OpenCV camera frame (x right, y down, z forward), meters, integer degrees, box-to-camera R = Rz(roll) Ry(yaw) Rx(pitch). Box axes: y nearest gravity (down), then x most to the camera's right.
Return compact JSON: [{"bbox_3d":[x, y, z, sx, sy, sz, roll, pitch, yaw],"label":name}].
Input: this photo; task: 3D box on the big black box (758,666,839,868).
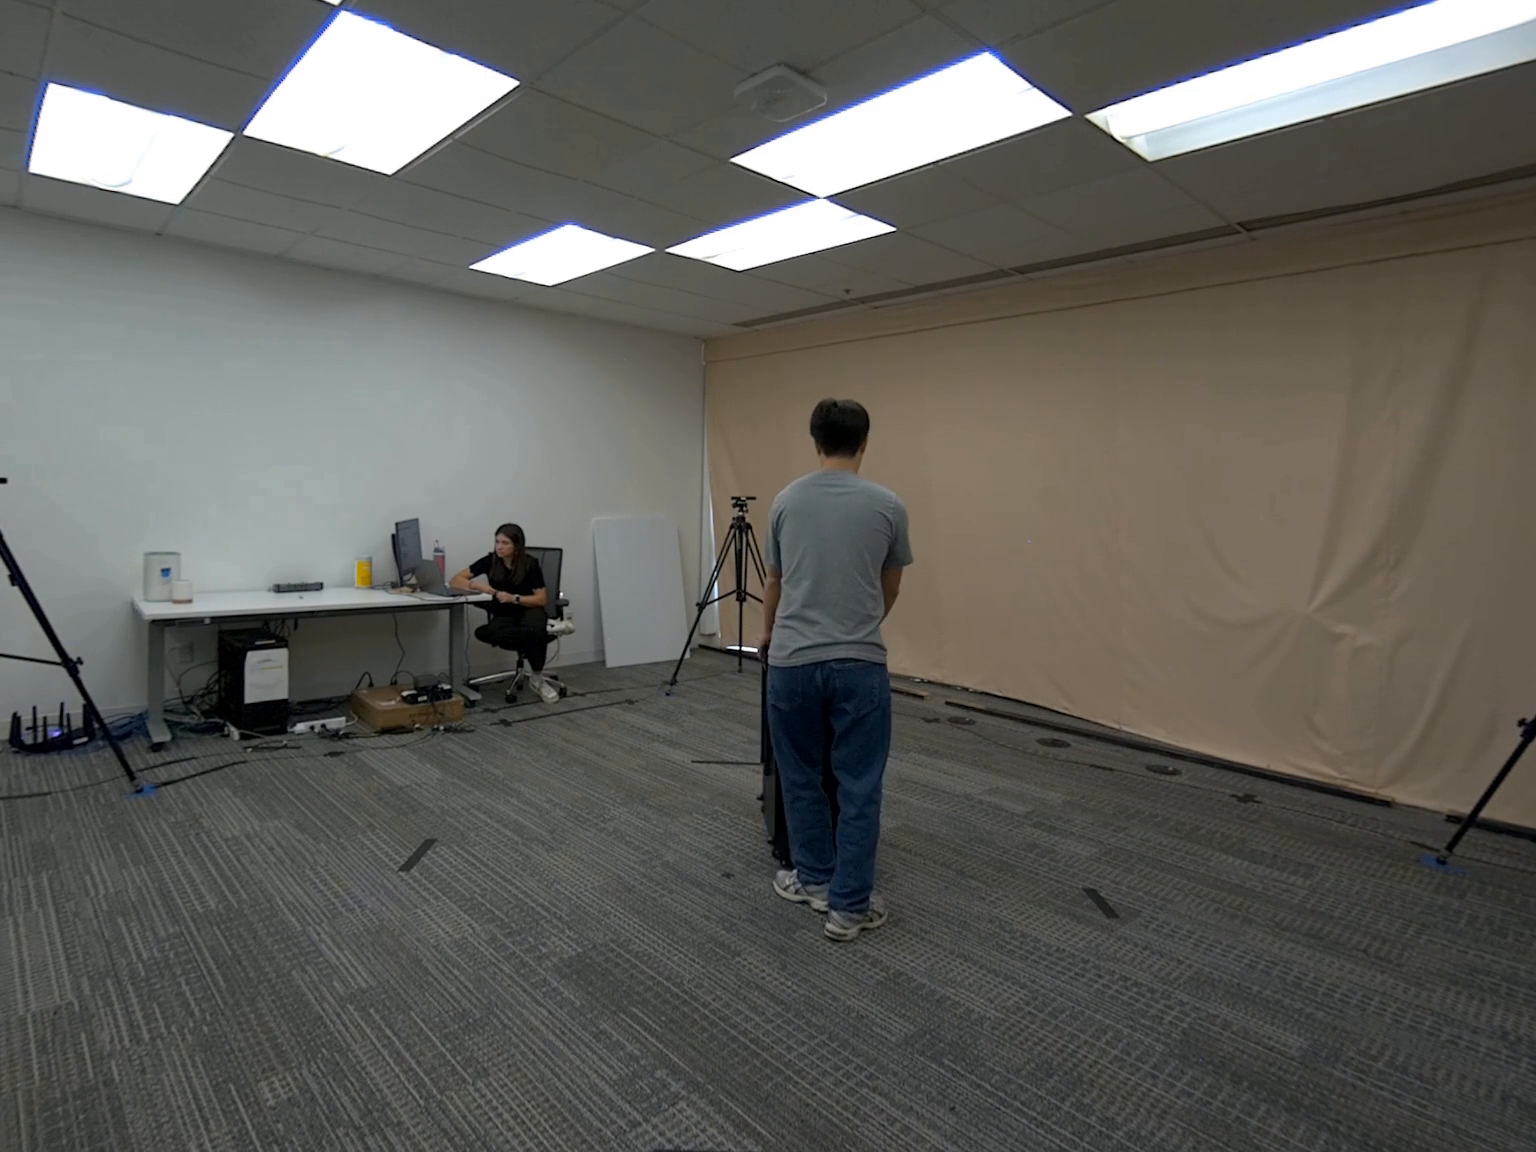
[{"bbox_3d":[0.167,0.677,3.318,0.395,0.859,0.524,0,3,-5],"label":"big black box"}]
